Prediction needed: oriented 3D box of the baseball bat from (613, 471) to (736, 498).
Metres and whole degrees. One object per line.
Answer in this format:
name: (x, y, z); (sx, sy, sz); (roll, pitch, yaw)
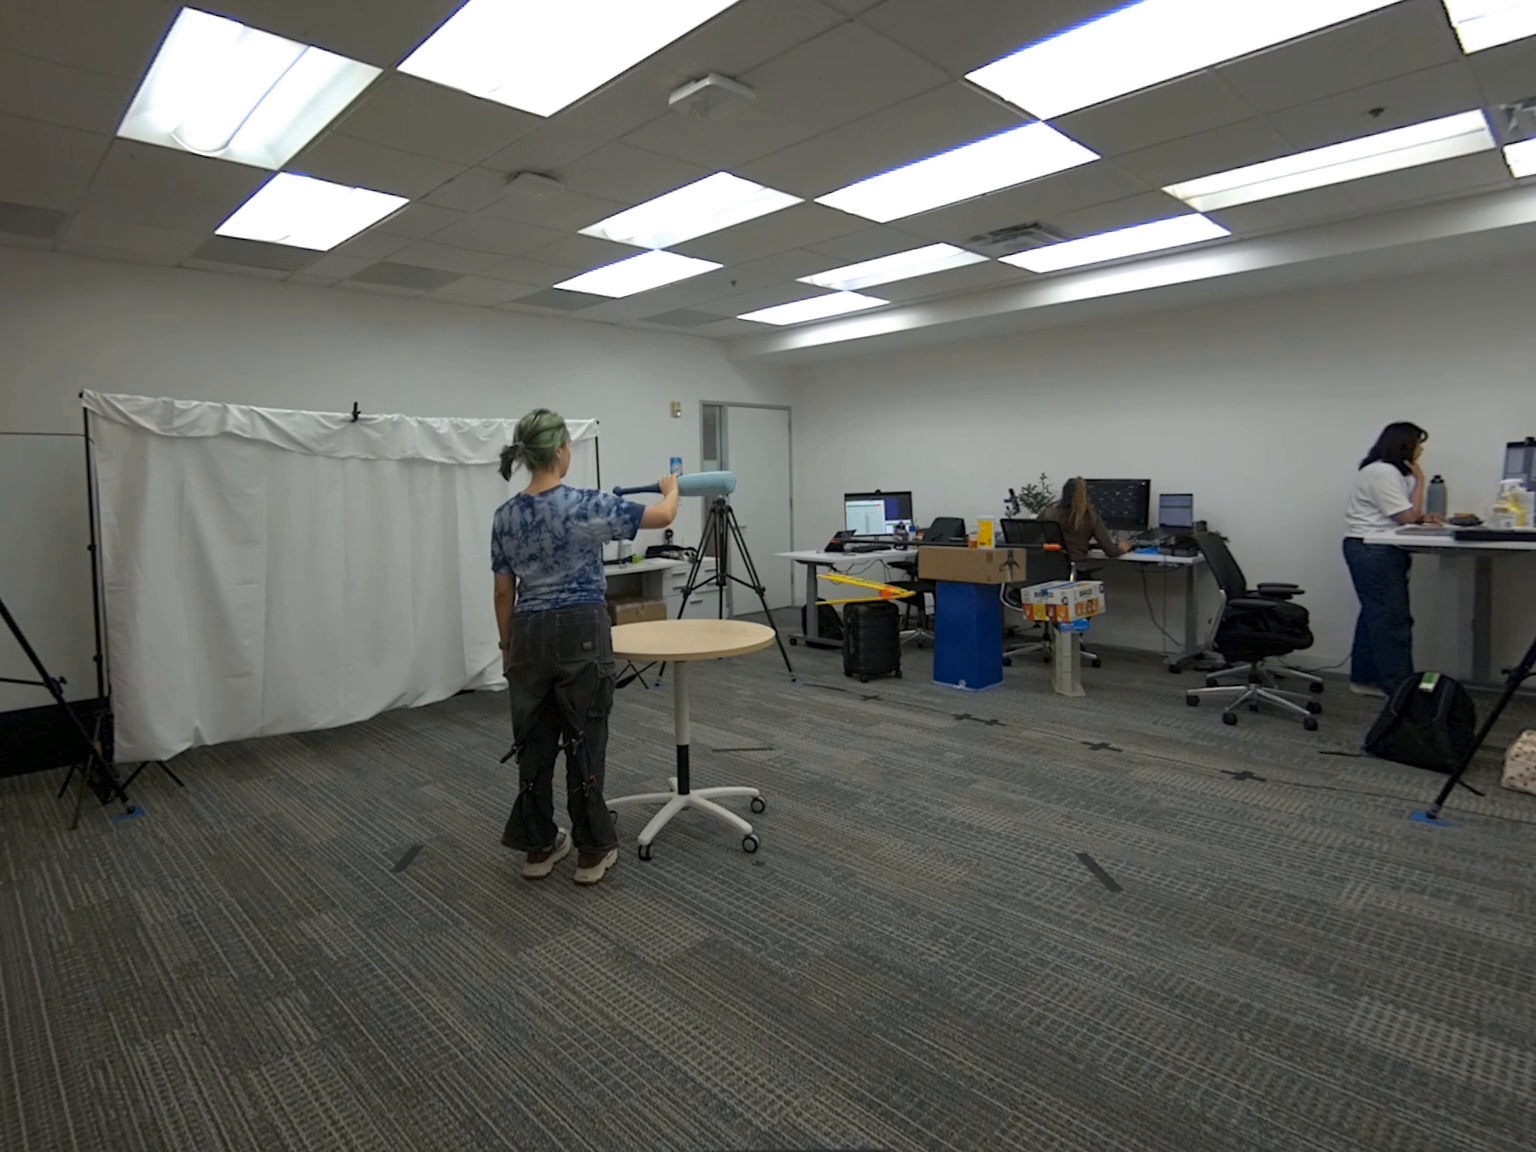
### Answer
baseball bat: (-0.380, -0.338, 3.288); (0.556, 0.089, 0.087); (-2, 3, 29)
